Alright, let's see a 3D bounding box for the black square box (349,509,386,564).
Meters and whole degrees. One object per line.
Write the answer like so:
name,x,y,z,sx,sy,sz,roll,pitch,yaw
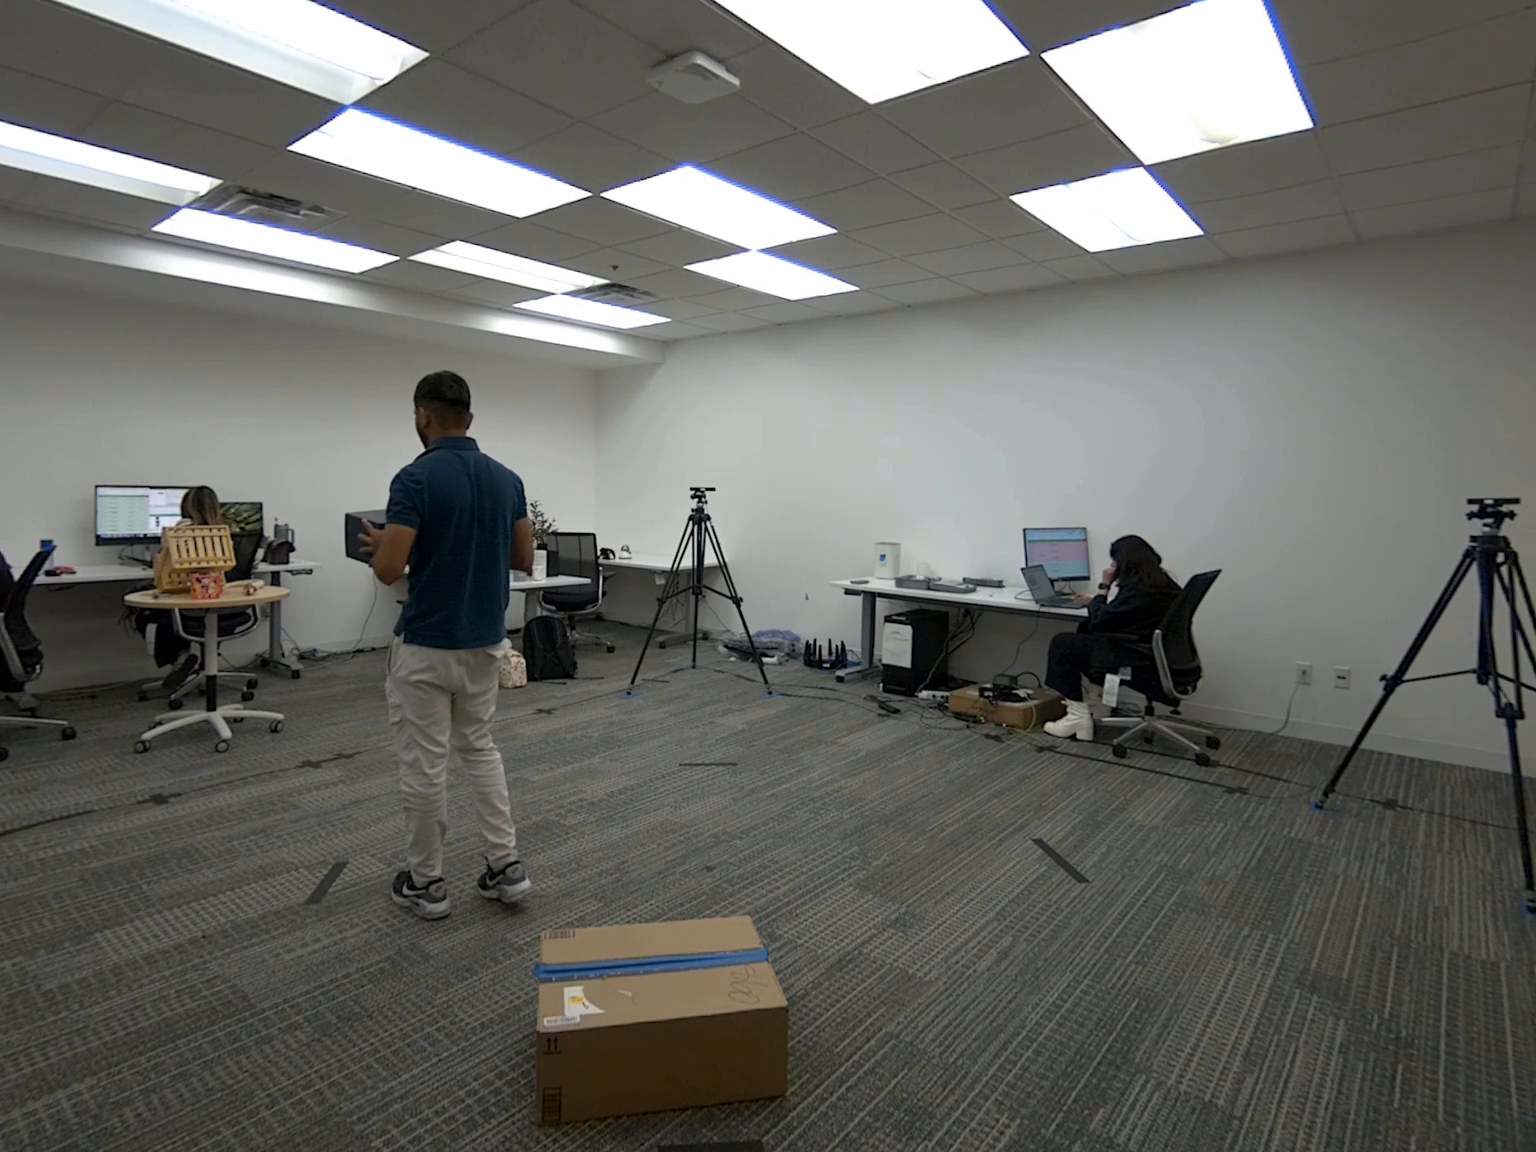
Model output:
black square box,-1.301,-0.138,2.942,0.225,0.154,0.222,13,15,33
